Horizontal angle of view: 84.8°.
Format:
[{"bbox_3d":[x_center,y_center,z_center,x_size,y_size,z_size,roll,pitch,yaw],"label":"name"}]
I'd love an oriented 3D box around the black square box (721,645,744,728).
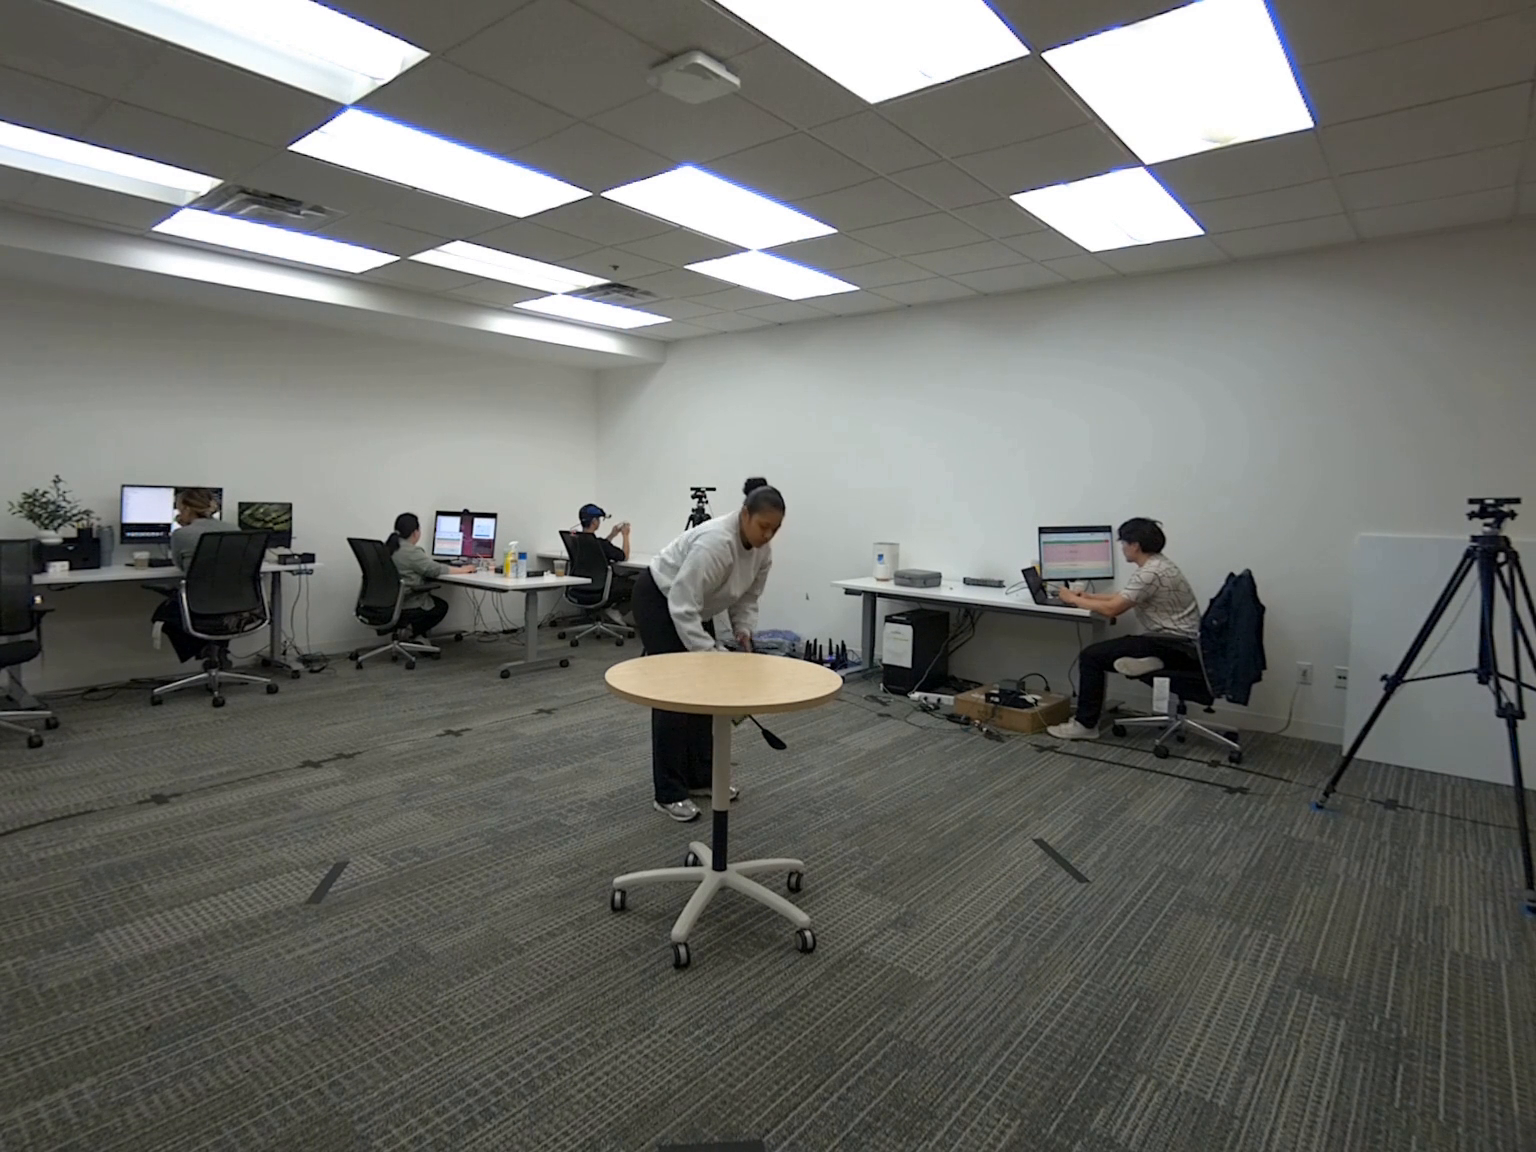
[{"bbox_3d":[-0.129,0.459,3.569,0.233,0.155,0.213,43,34,15],"label":"black square box"}]
